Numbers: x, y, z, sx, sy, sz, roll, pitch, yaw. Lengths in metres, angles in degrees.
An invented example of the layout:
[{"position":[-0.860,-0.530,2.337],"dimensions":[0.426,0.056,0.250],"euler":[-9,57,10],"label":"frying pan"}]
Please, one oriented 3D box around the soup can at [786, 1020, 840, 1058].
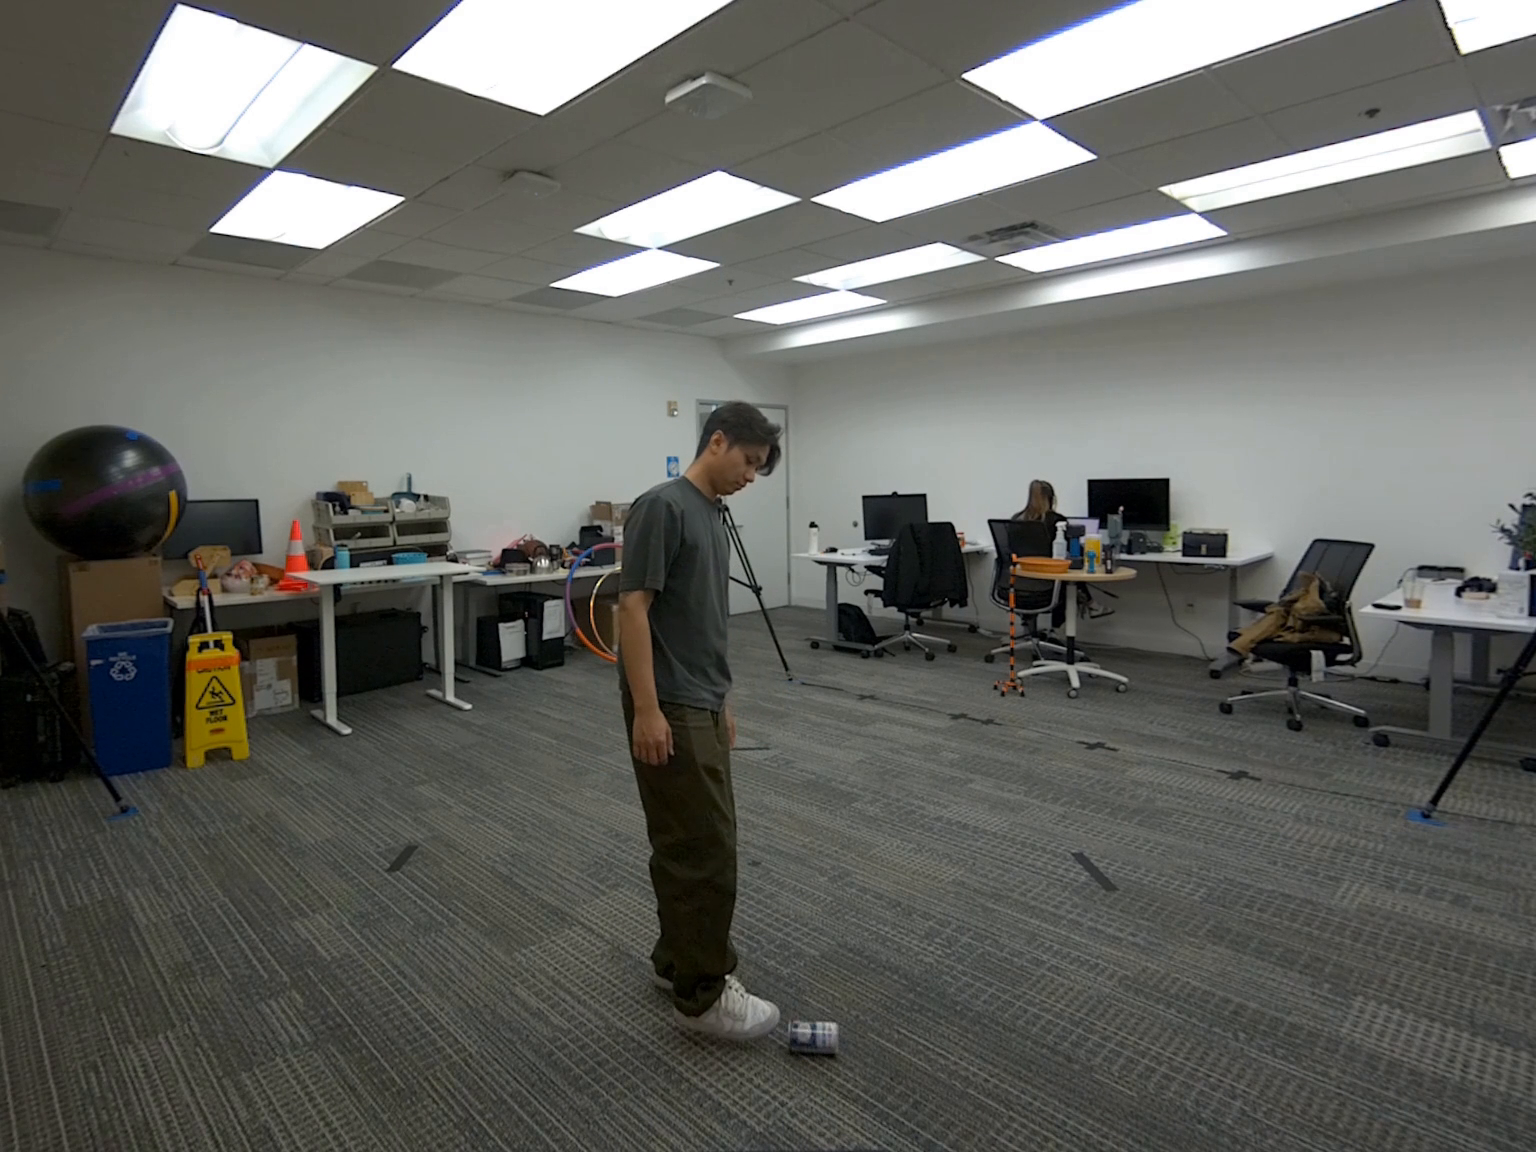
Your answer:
[{"position":[0.099,1.123,2.084],"dimensions":[0.122,0.067,0.067],"euler":[-4,5,2],"label":"soup can"}]
